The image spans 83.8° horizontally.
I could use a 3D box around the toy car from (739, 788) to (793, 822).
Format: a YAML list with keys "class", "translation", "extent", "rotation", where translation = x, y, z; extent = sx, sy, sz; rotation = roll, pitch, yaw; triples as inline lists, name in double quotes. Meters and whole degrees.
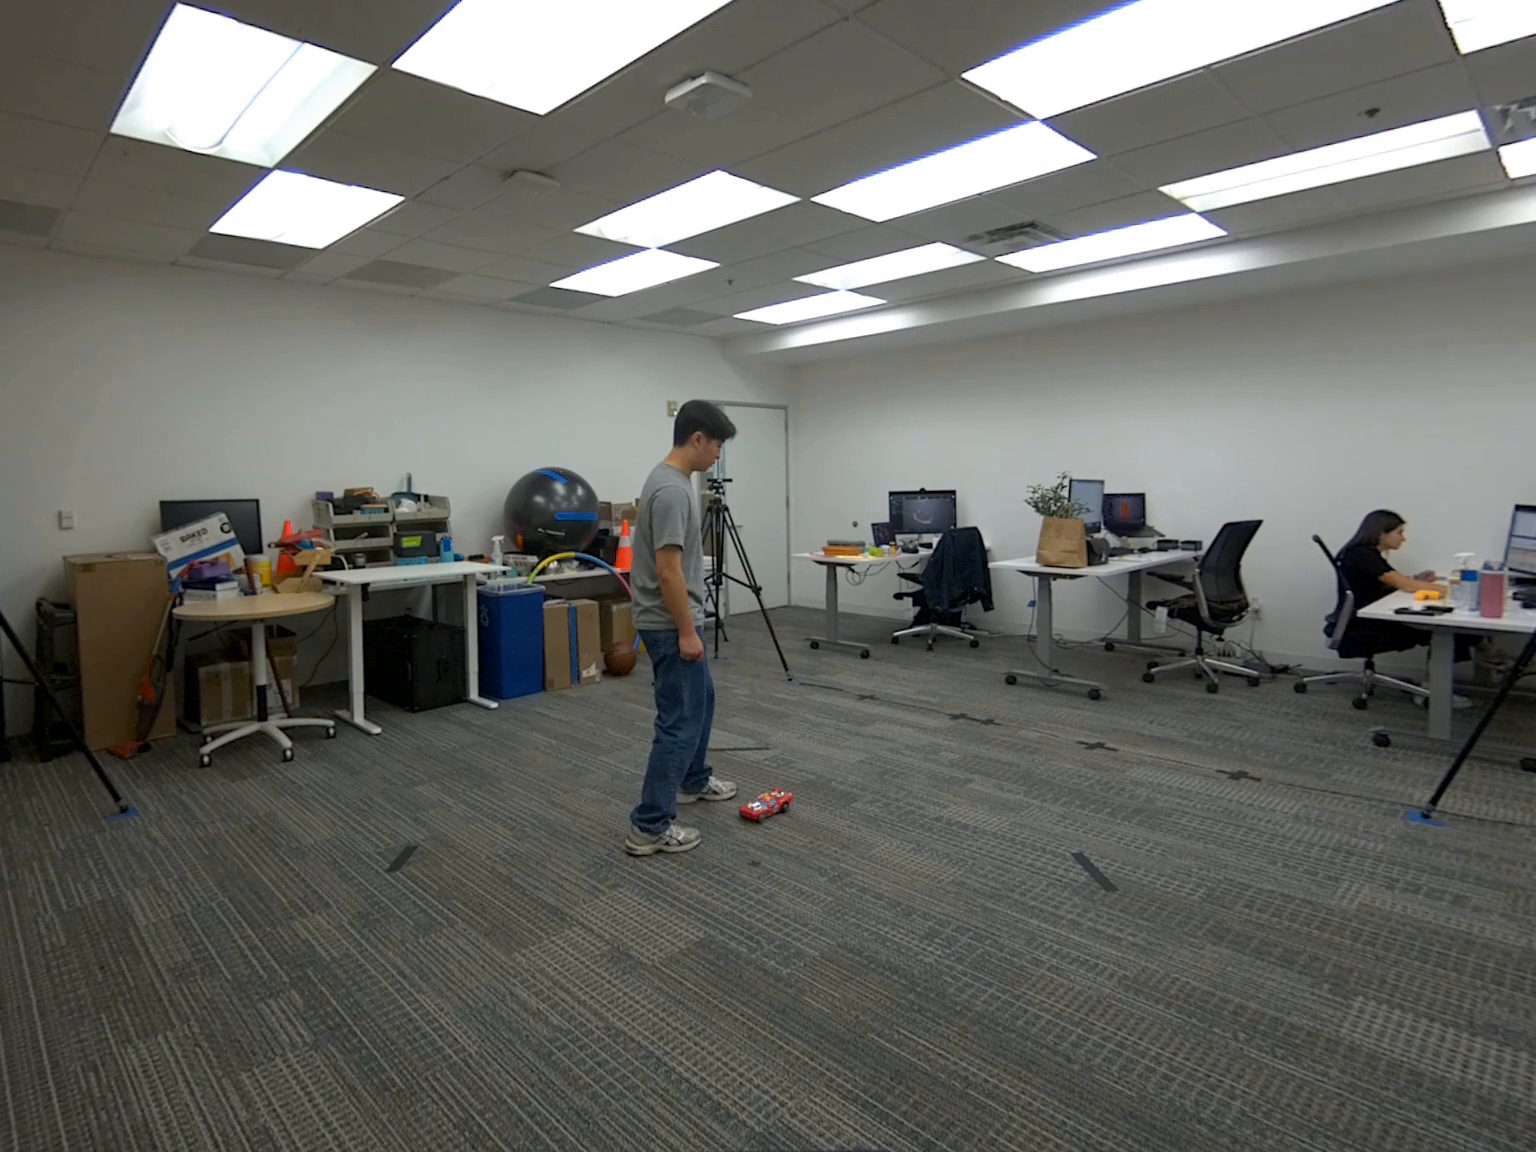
- class: "toy car"
  translation: [0.003, 0.958, 3.573]
  extent: [0.134, 0.082, 0.250]
  rotation: [5, 20, 44]
